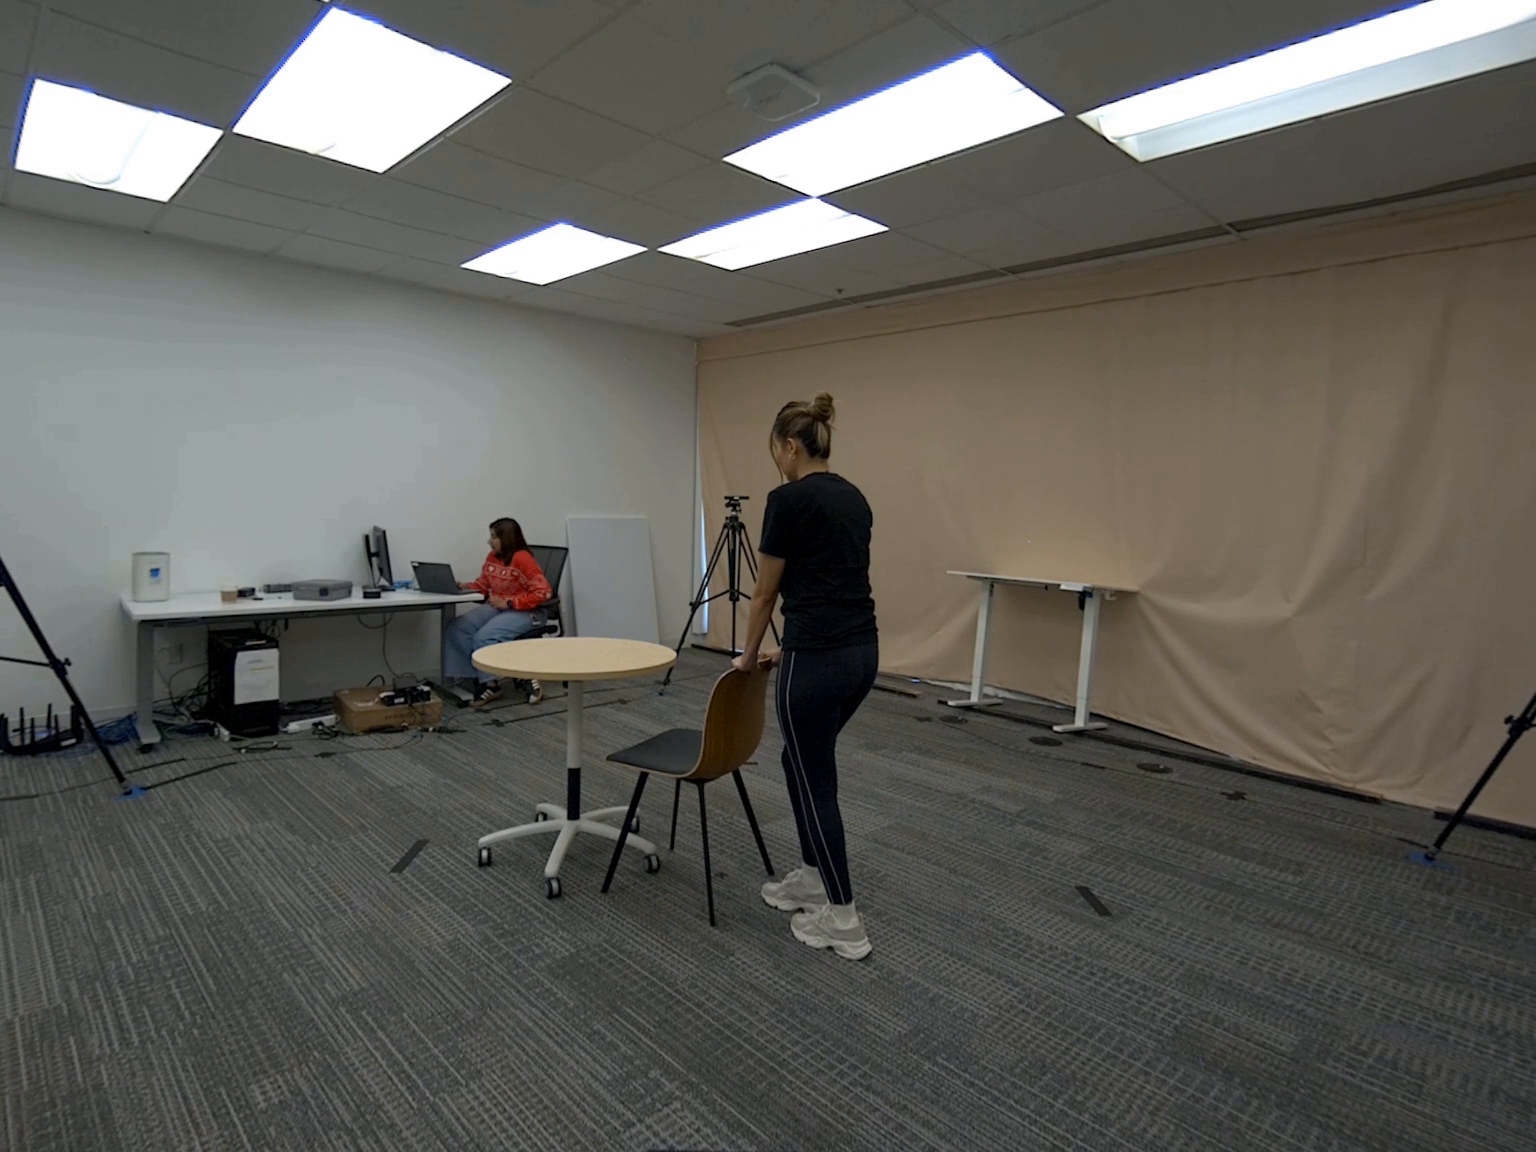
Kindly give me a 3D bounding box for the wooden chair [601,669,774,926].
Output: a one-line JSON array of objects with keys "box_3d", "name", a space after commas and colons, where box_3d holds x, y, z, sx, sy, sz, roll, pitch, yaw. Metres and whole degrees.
[{"box_3d": [-0.281, 0.682, 2.999, 0.535, 0.874, 0.469, 8, 6, 28], "name": "wooden chair"}]
